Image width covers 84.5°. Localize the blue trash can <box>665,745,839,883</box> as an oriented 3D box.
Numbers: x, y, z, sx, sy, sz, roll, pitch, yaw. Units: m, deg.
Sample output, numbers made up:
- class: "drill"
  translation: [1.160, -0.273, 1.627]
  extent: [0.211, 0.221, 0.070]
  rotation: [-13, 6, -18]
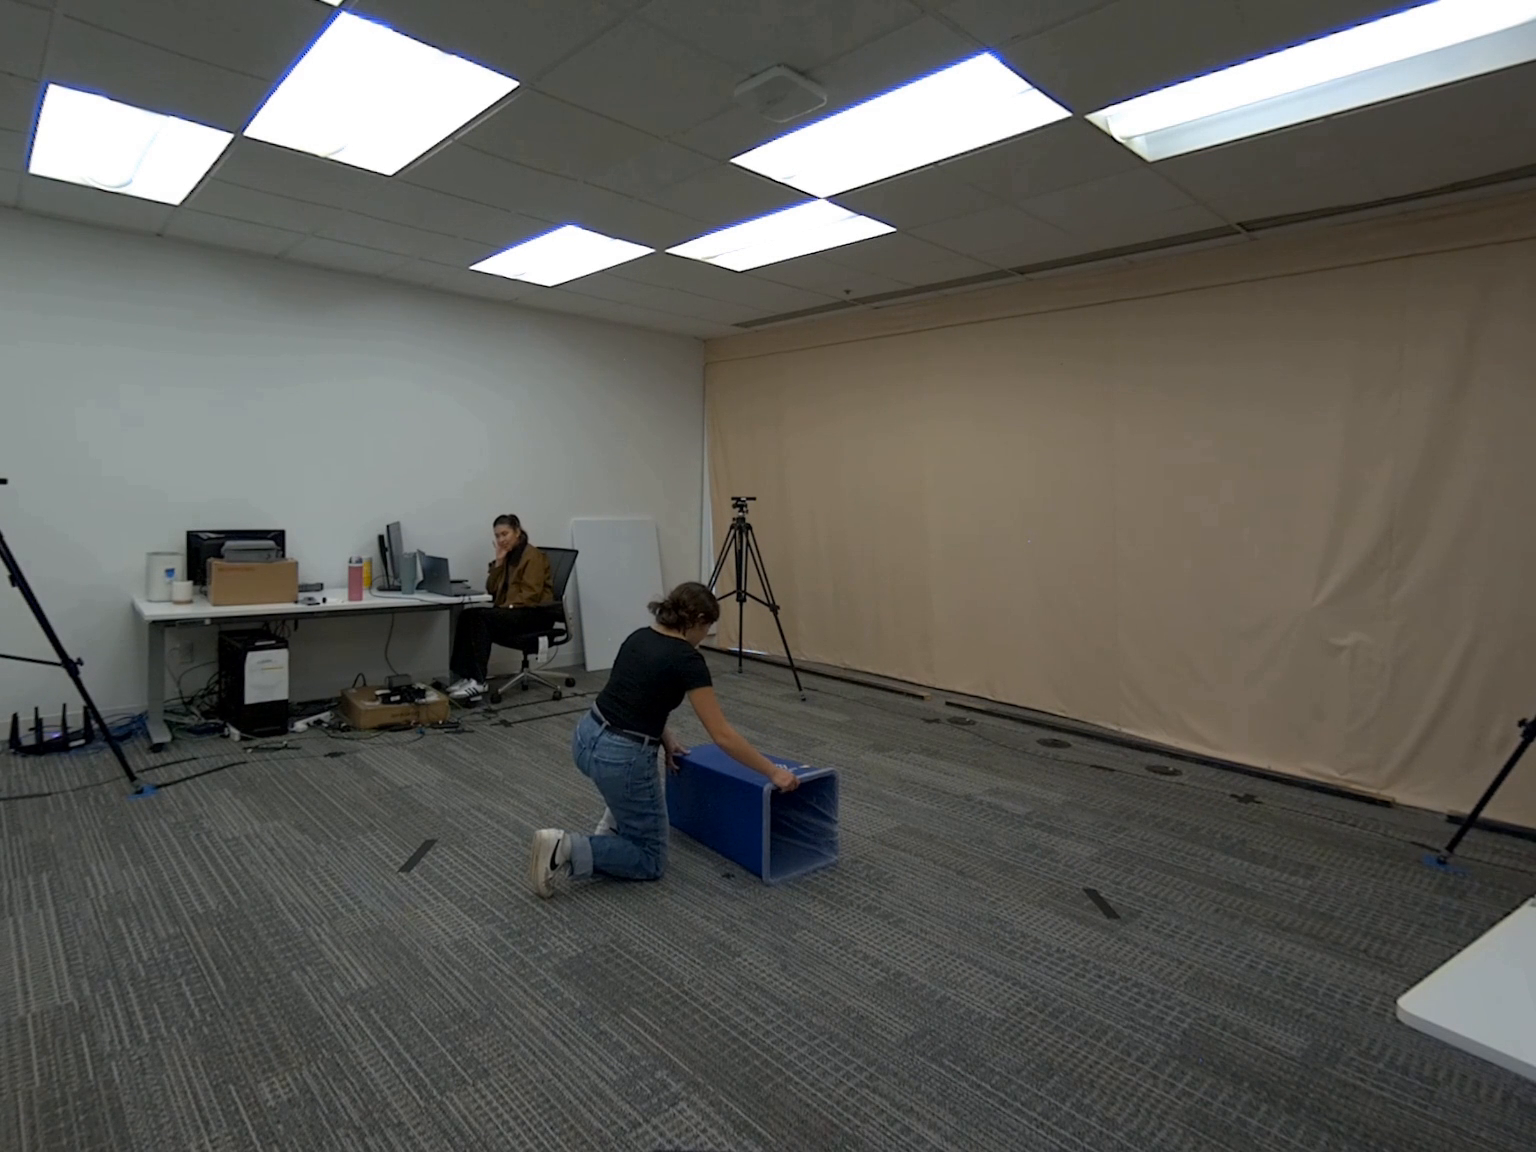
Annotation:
- class: "blue trash can"
  translation: [-0.102, 0.918, 3.399]
  extent: [0.366, 0.378, 0.730]
  rotation: [-2, 3, -39]
